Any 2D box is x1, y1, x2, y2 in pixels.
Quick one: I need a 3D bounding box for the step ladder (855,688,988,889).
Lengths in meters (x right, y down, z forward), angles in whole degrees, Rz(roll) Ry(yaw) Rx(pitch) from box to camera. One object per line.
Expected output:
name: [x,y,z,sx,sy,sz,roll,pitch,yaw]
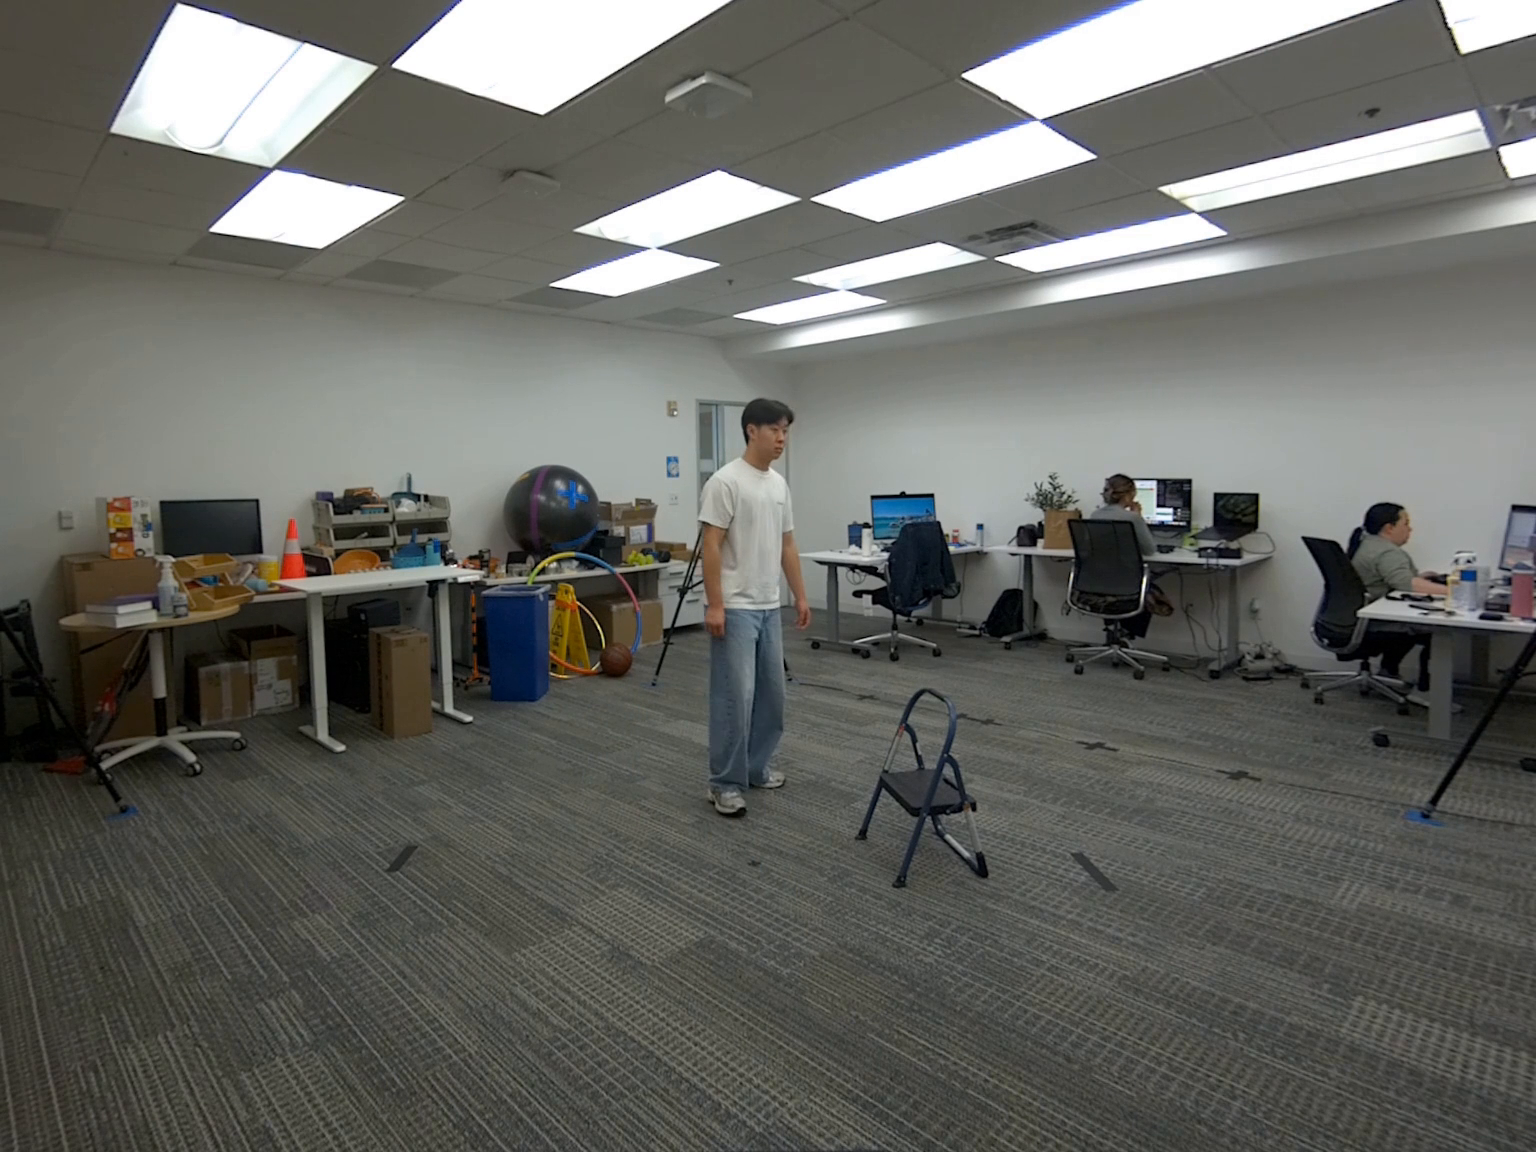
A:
step ladder: [0.554,0.733,3.115,0.346,0.604,0.437,-2,5,-12]
